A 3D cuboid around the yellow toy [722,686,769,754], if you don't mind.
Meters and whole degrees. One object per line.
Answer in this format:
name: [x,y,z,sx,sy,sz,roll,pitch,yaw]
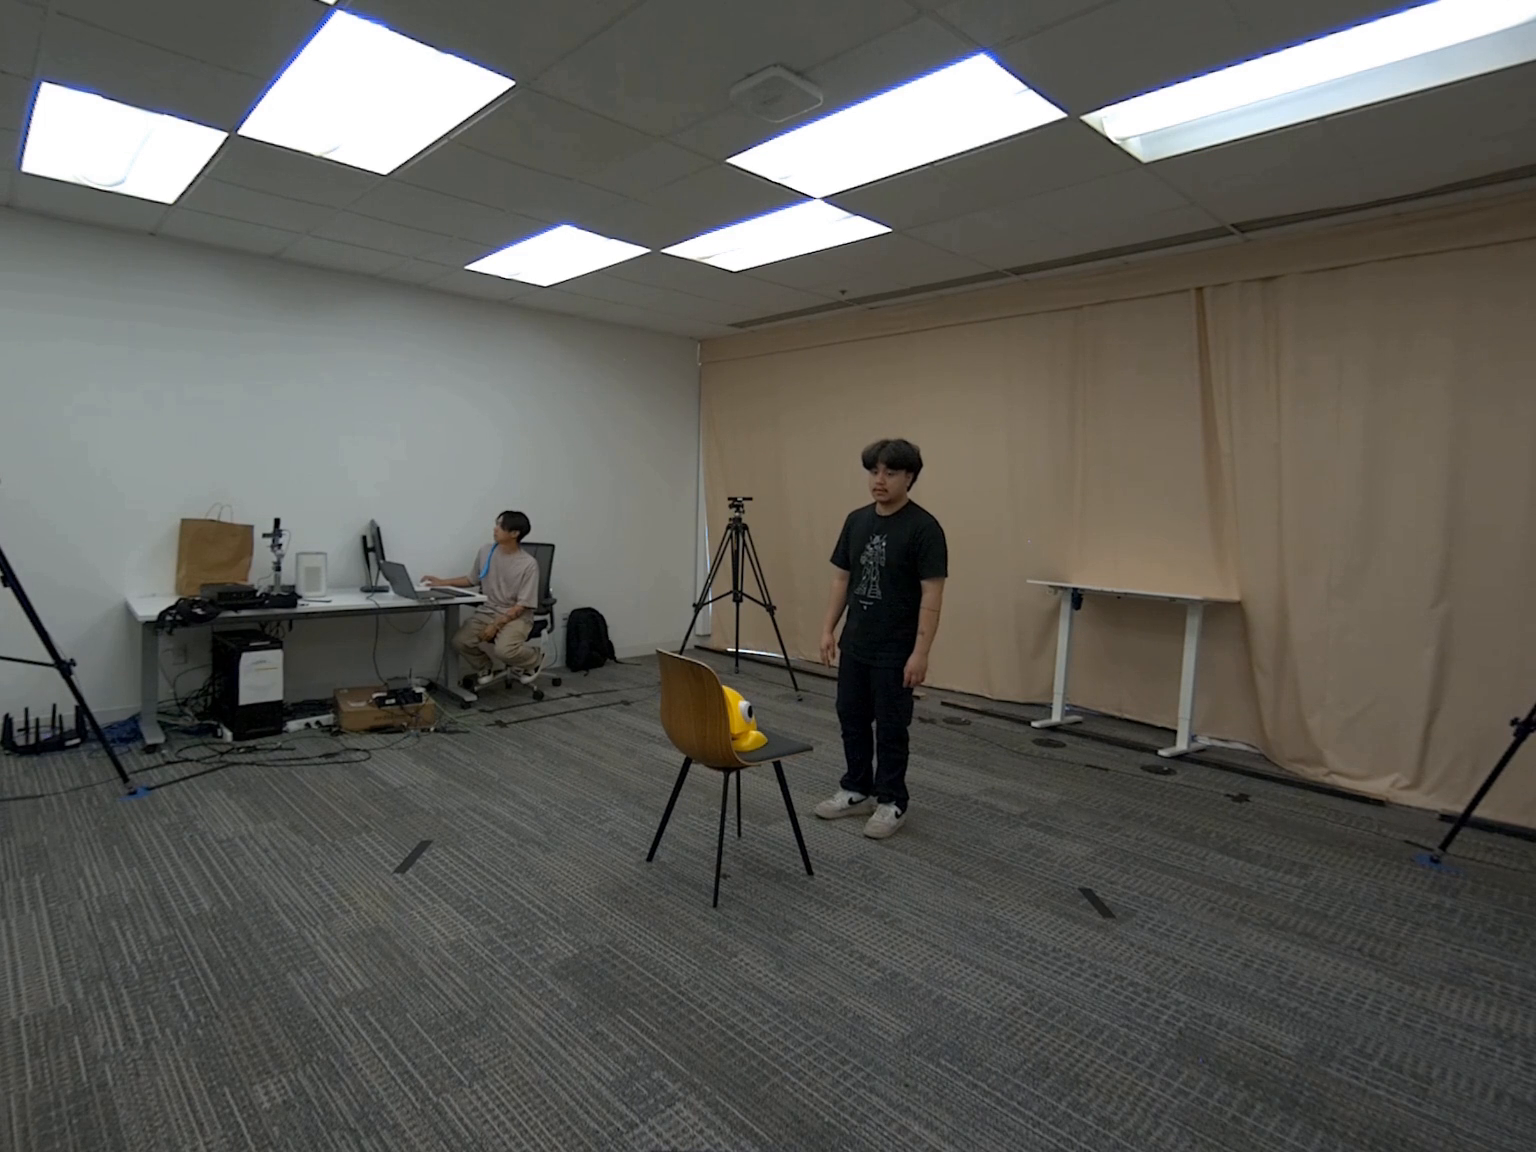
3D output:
yellow toy: [-0.126,0.514,3.147,0.189,0.229,0.210,-8,8,-39]
